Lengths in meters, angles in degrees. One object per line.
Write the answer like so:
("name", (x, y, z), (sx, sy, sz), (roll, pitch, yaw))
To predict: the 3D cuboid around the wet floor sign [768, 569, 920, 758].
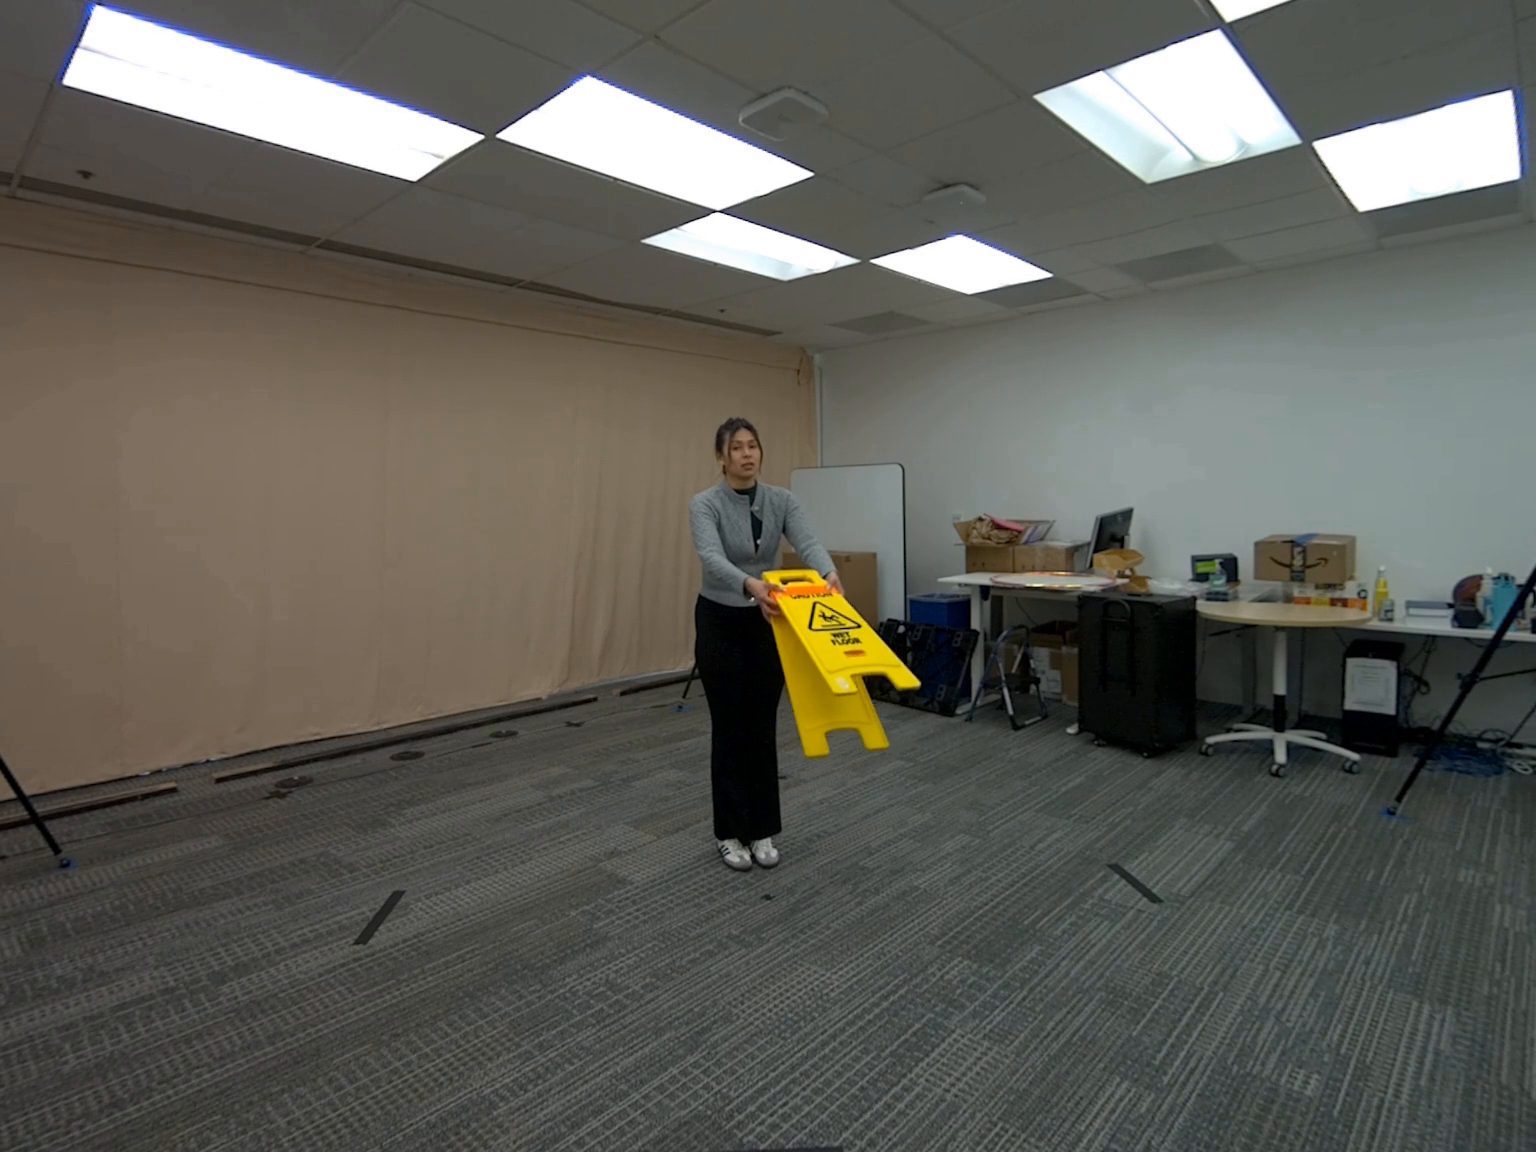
("wet floor sign", (0.189, 0.206, 2.633), (0.276, 0.287, 0.666), (-3, 43, -24))
